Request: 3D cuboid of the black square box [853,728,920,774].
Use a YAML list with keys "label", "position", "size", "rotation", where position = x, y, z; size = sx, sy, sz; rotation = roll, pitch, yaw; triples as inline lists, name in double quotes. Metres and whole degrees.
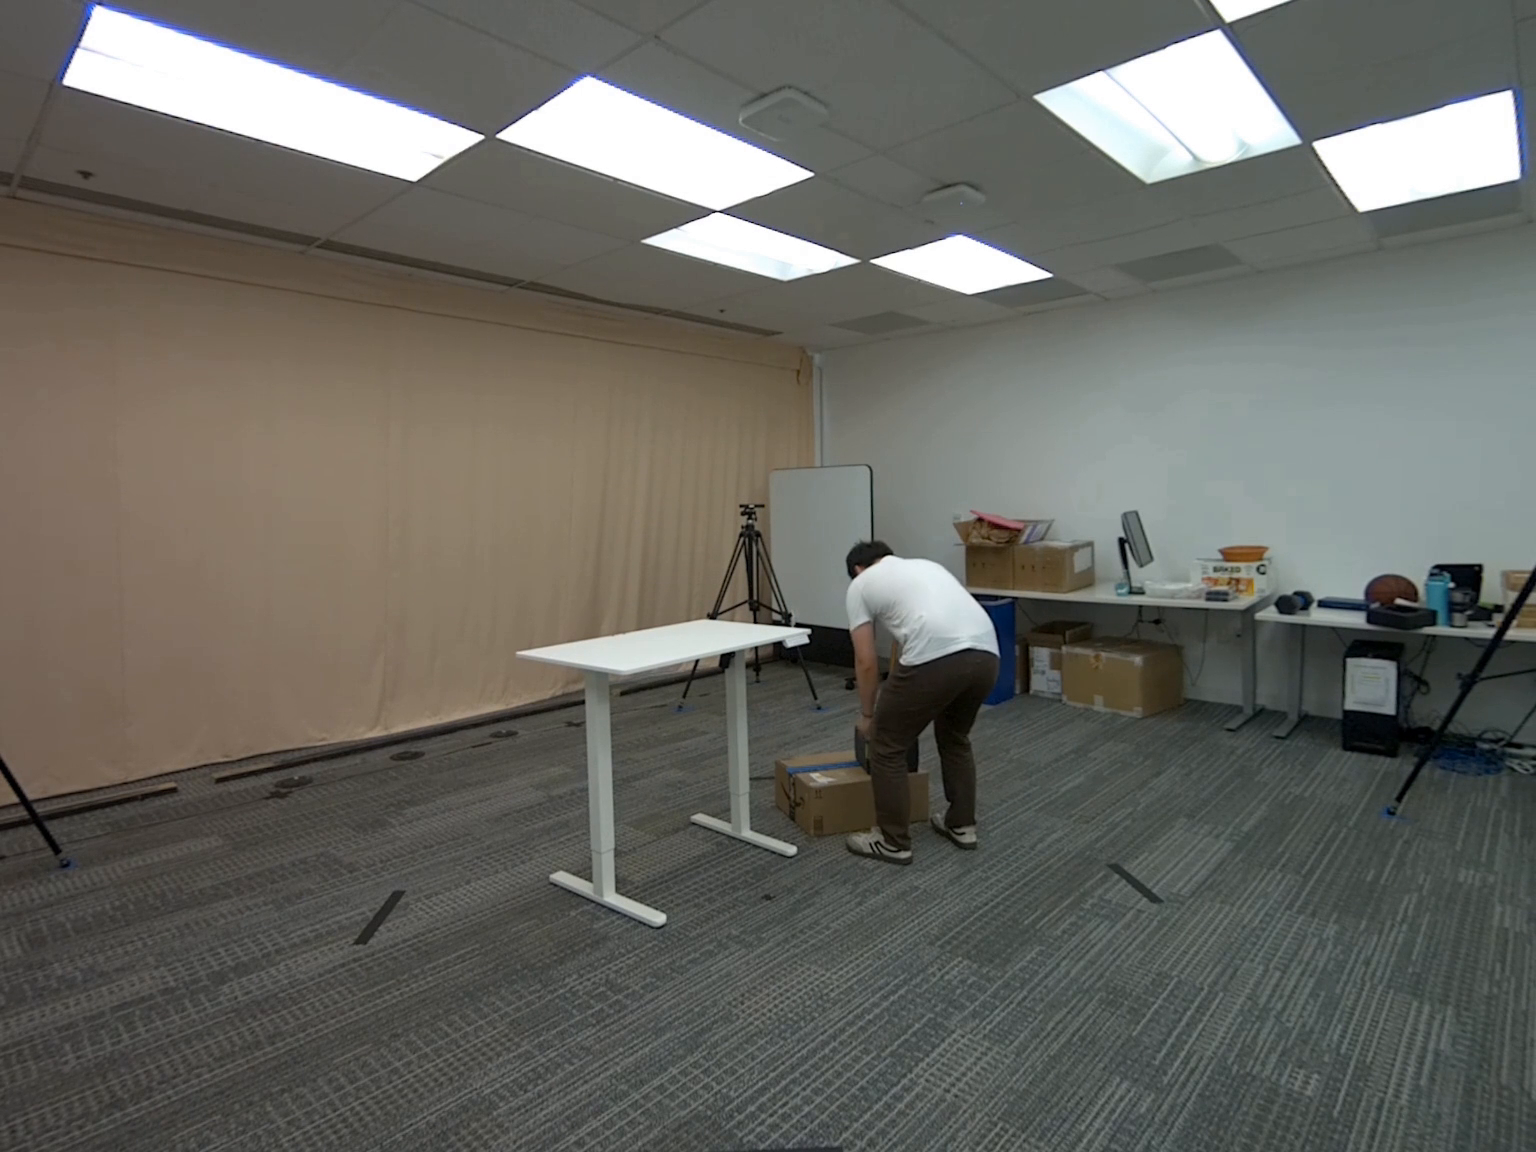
- label: "black square box"
  position: [0.528, 0.766, 3.743]
  size: [0.226, 0.155, 0.219]
  rotation: [-2, 5, -7]
